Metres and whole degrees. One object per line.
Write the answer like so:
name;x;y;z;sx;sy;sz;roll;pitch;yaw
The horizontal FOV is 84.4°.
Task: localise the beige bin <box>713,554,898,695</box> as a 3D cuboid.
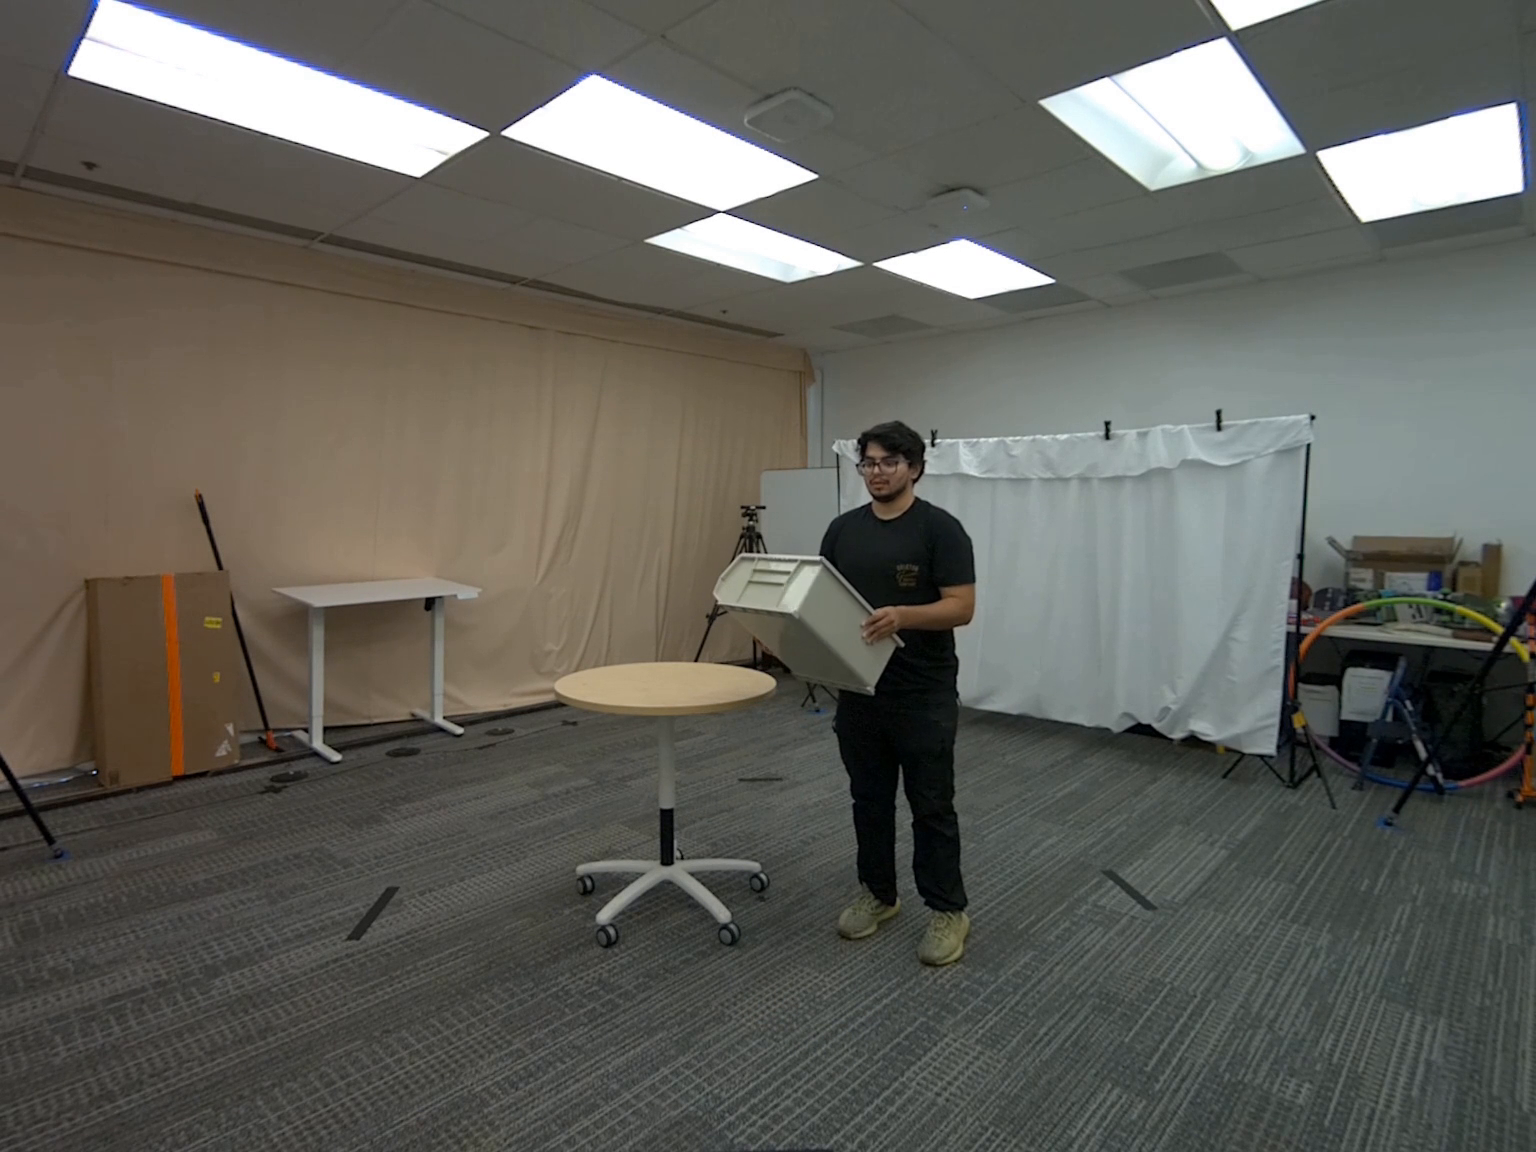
beige bin;0.111;0.136;2.440;0.390;0.189;0.409;7;-32;51
